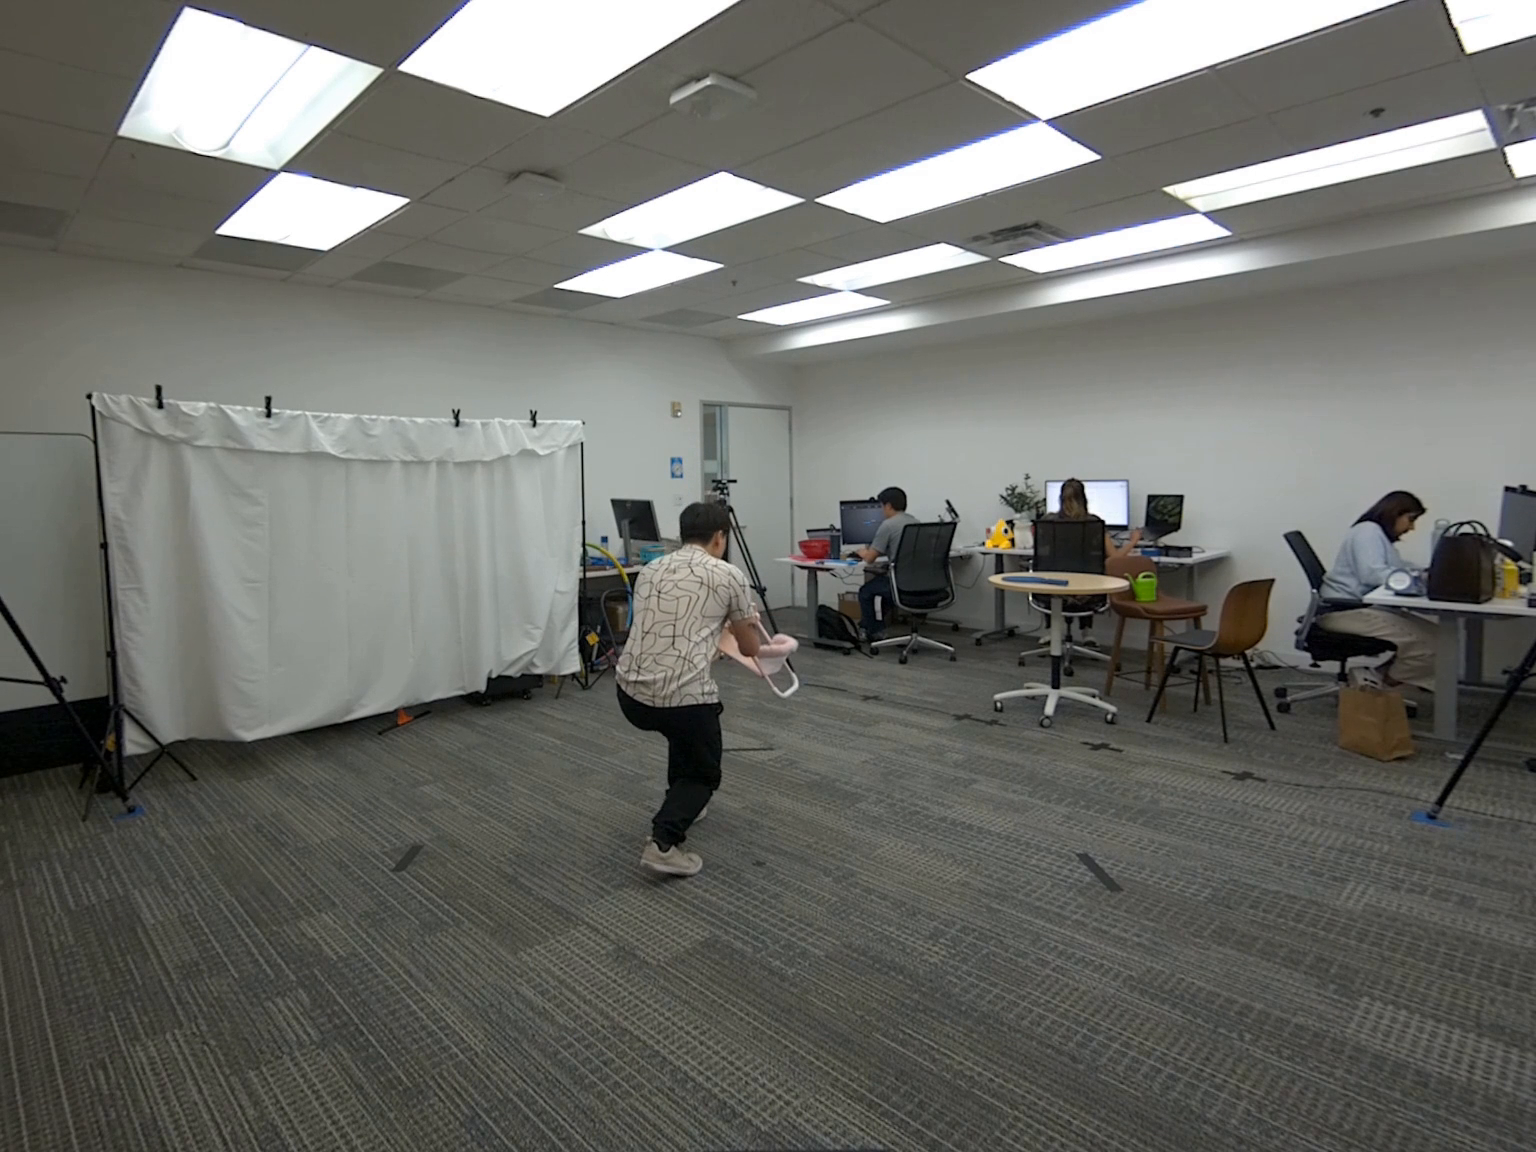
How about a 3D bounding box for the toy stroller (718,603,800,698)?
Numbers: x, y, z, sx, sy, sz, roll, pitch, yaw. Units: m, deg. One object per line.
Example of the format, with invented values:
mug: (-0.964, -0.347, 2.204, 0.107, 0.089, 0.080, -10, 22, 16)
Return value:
toy stroller: (-0.101, 0.279, 3.707, 0.550, 0.338, 0.276, 16, 13, 26)
